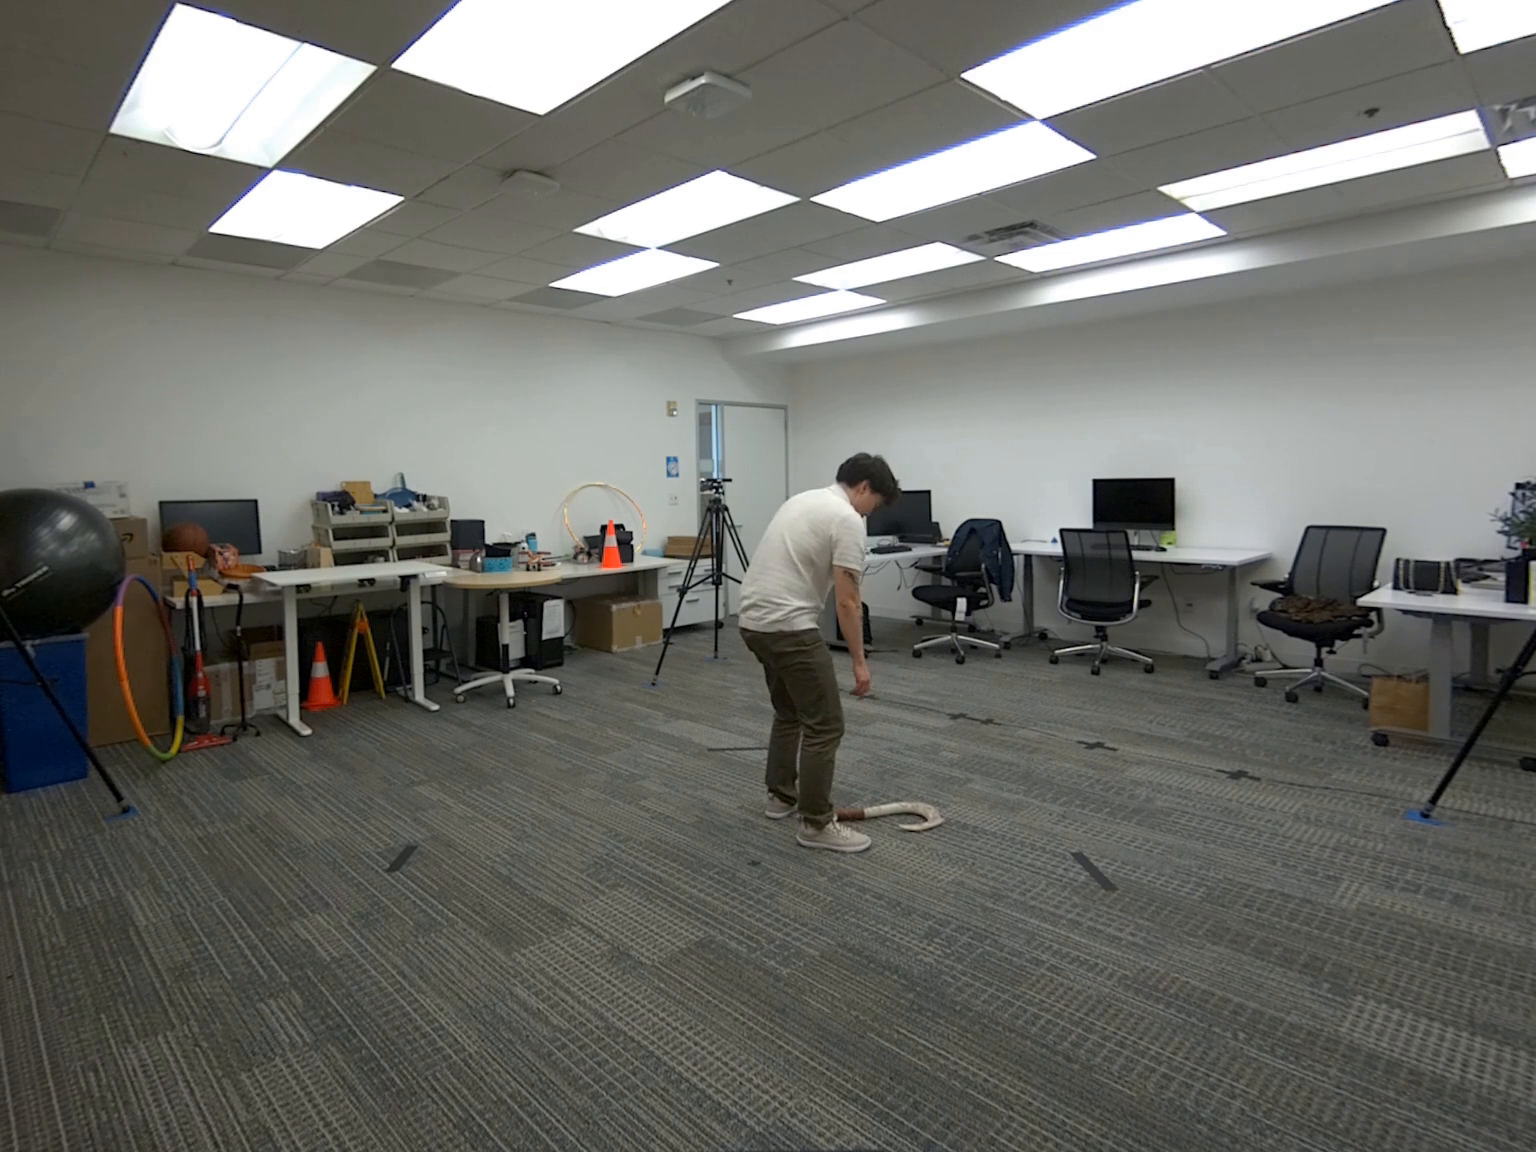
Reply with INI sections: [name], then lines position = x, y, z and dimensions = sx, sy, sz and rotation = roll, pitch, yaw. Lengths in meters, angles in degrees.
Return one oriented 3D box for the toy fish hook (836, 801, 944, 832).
[toy fish hook]
position = 0.448, 0.970, 3.449
dimensions = 0.504, 0.048, 0.226
rotation = -2, 6, -5
